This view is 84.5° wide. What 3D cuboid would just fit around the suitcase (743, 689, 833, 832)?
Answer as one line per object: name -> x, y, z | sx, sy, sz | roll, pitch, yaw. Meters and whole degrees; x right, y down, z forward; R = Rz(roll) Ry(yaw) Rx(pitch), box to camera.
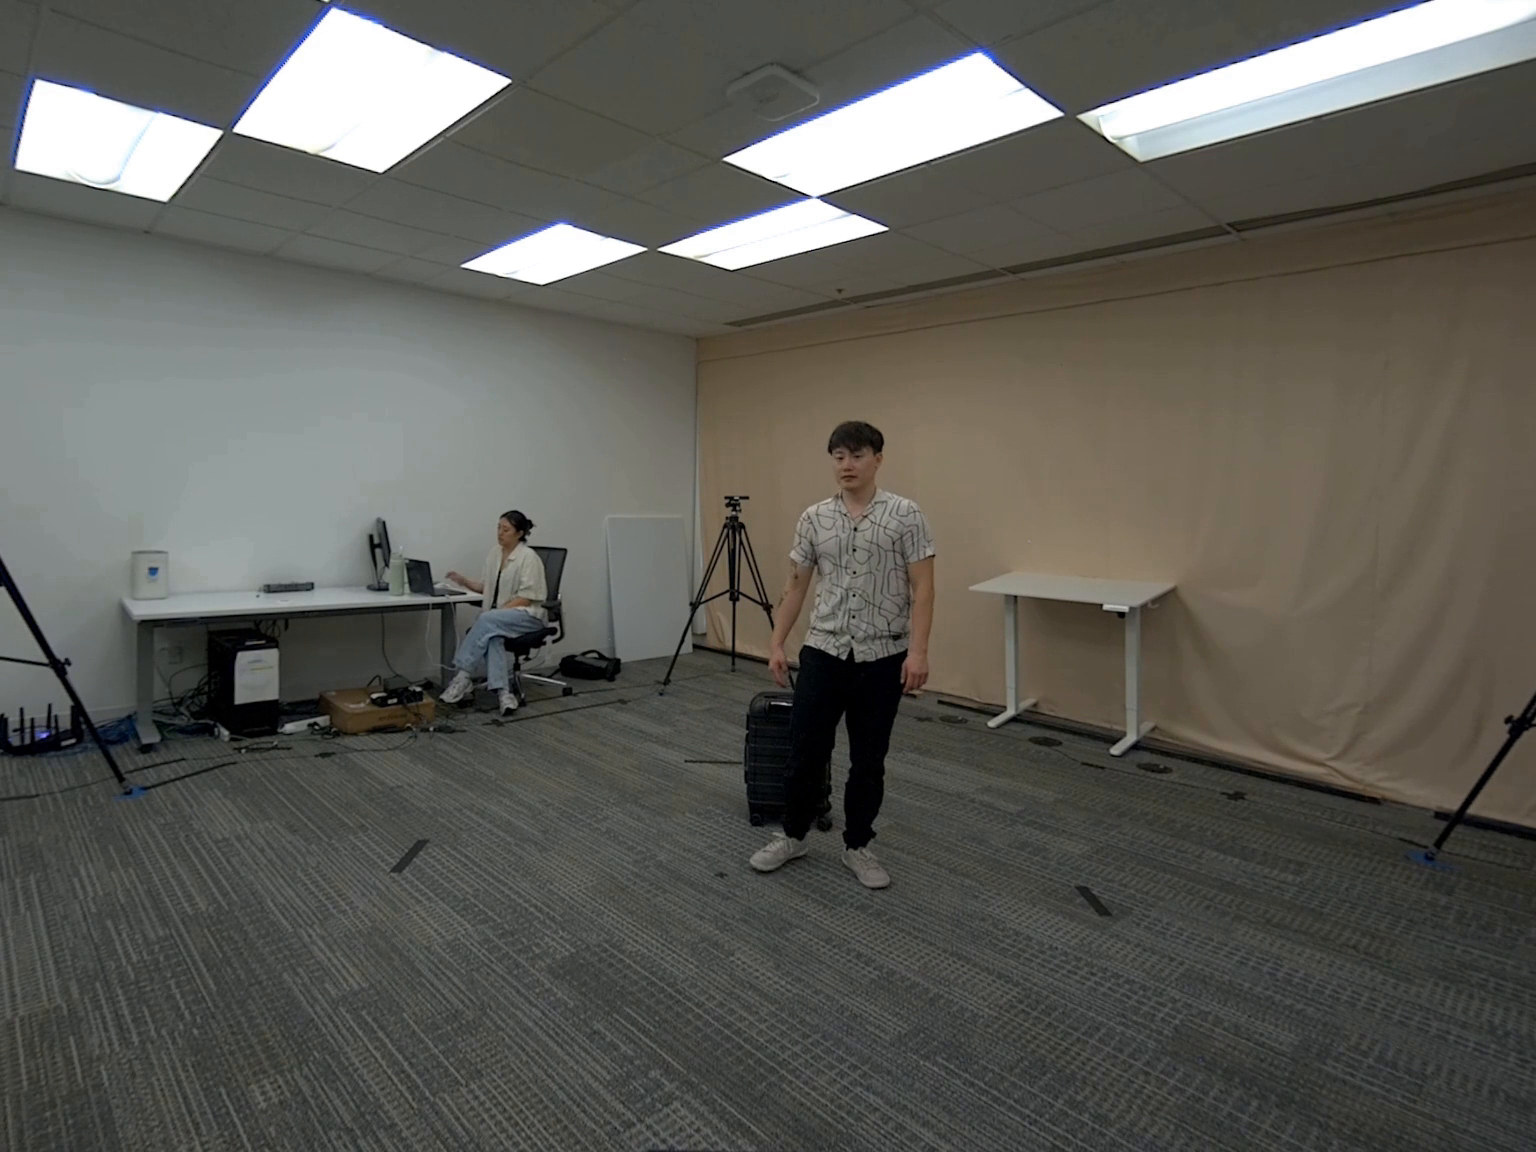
suitcase -> 0.081, 0.786, 3.679 | 0.377, 0.548, 0.247 | 1, 2, 5
